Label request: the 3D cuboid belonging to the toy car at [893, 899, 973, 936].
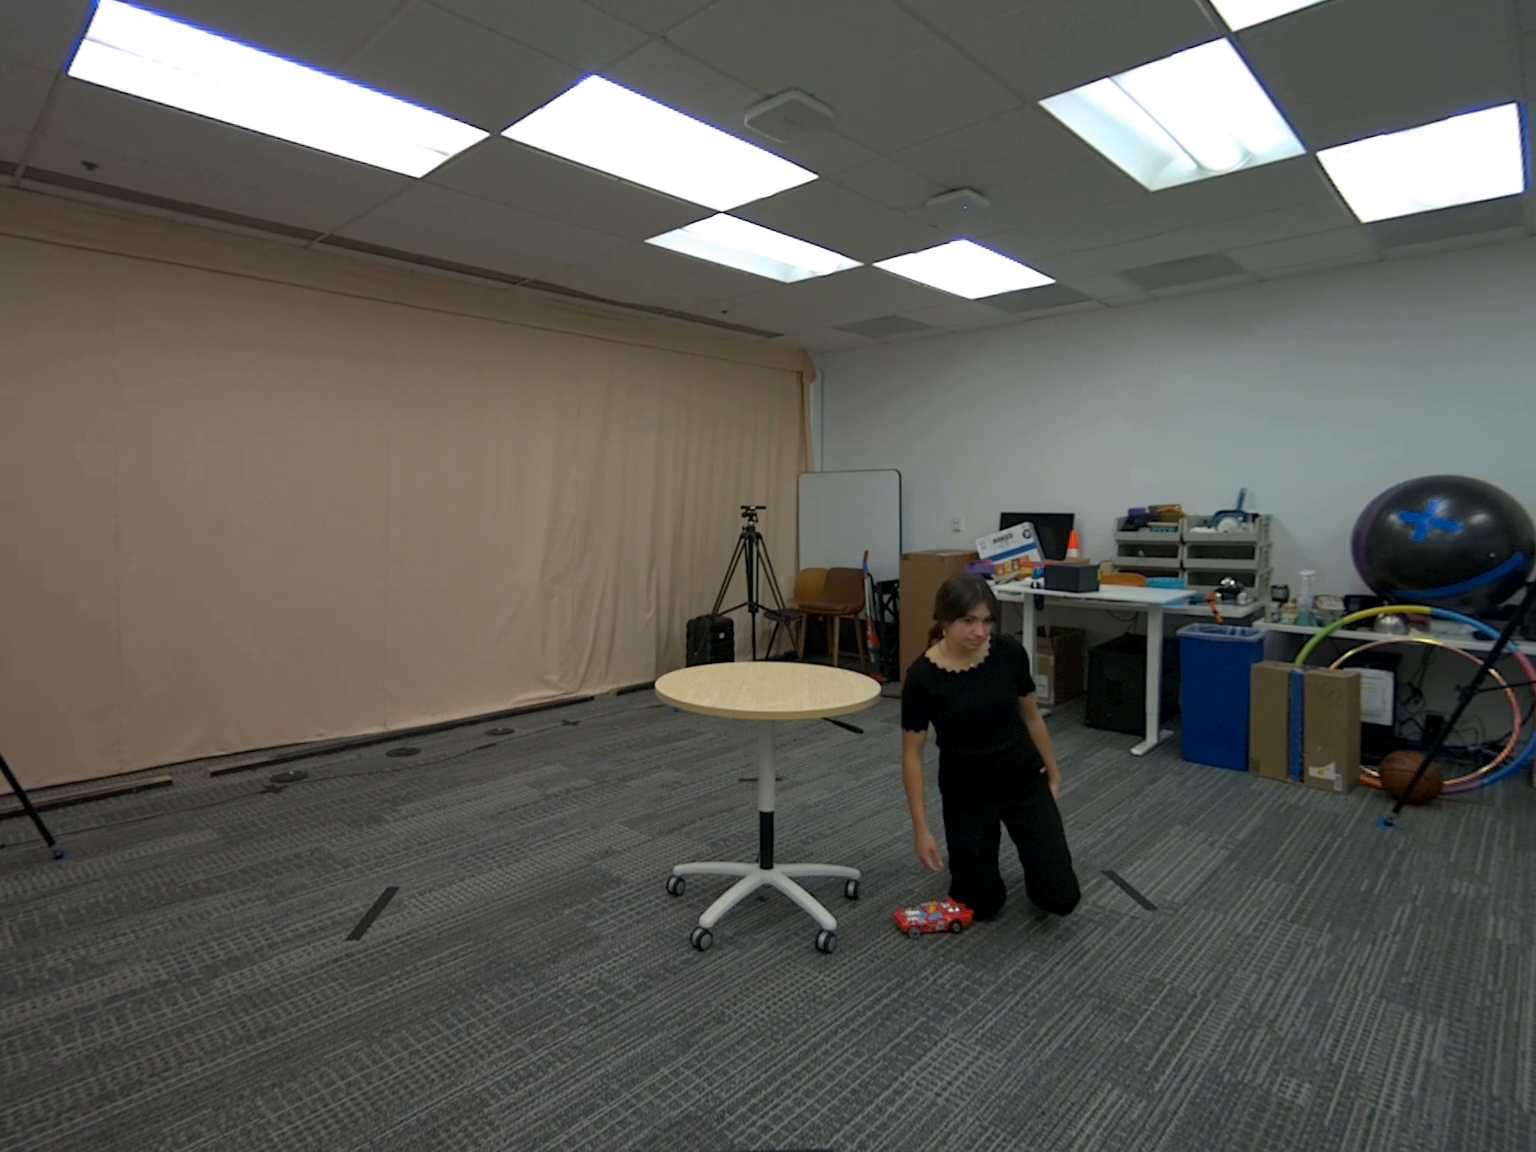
[{"bbox_3d":[0.556,1.133,2.769,0.252,0.083,0.132,-13,6,-10],"label":"toy car"}]
